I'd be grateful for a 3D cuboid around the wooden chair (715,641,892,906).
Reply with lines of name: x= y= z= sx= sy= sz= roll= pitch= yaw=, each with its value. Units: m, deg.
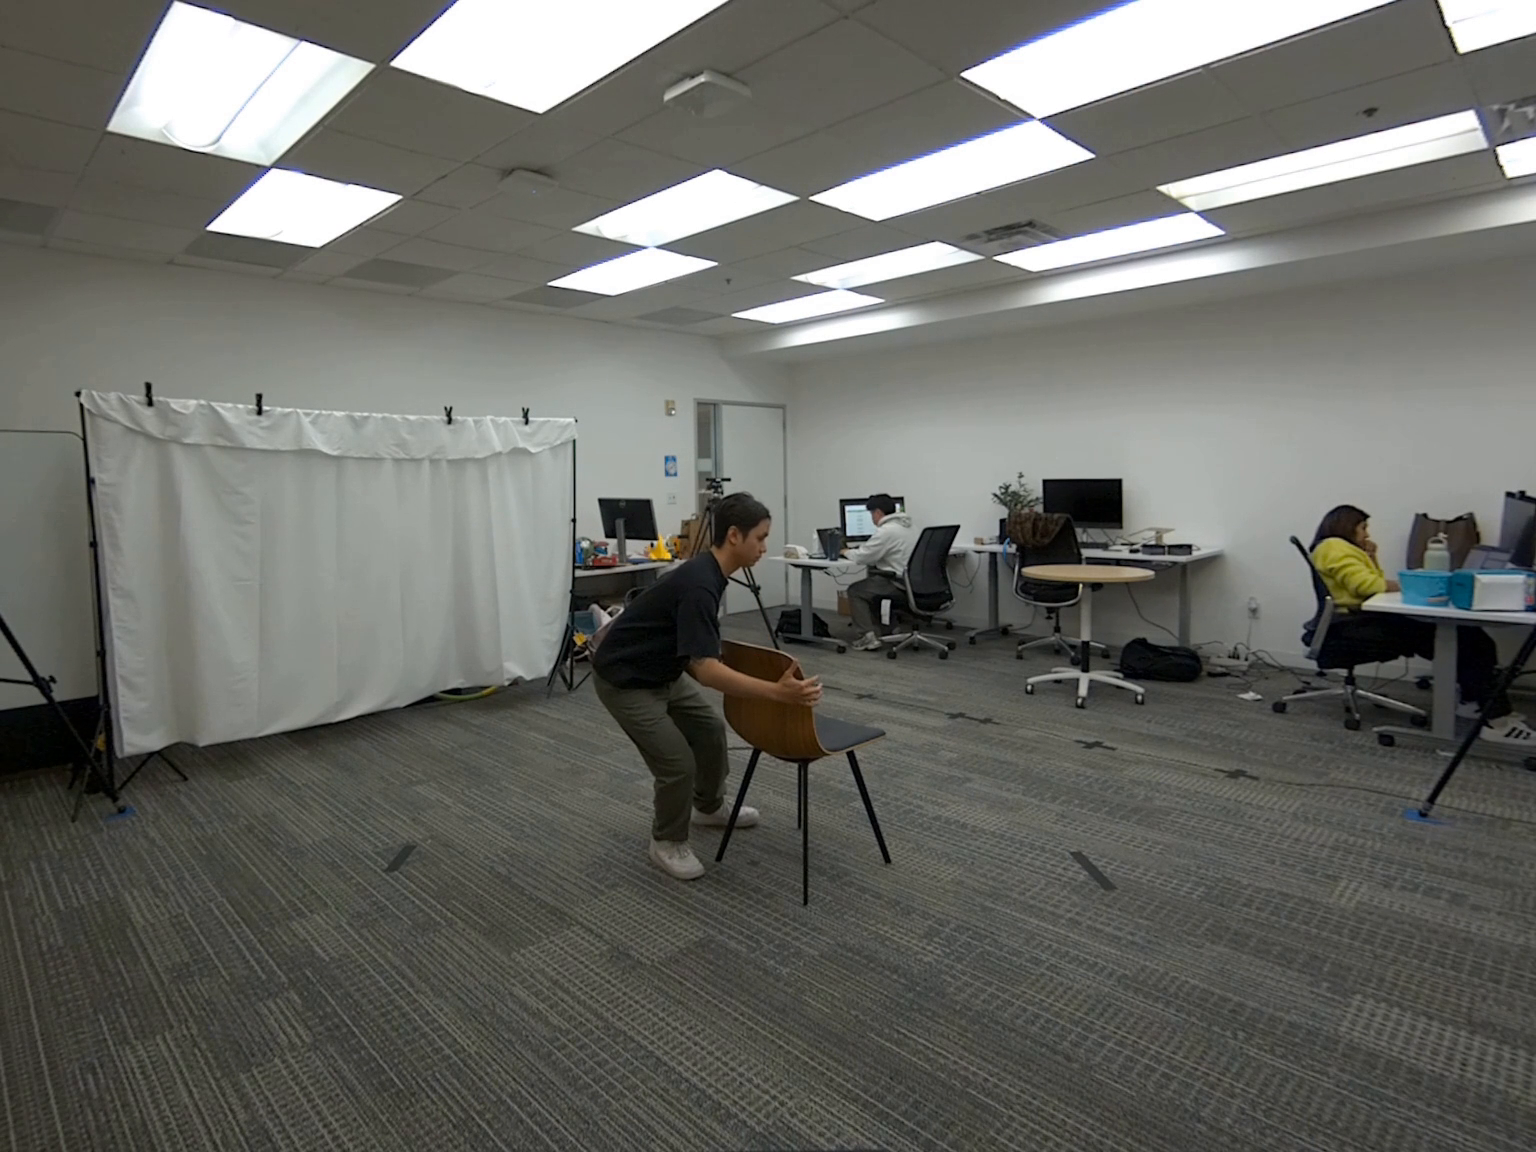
wooden chair: x=0.129 y=0.611 z=3.068 sx=0.511 sy=0.871 sz=0.493 roll=-11 pitch=10 yaw=-42
